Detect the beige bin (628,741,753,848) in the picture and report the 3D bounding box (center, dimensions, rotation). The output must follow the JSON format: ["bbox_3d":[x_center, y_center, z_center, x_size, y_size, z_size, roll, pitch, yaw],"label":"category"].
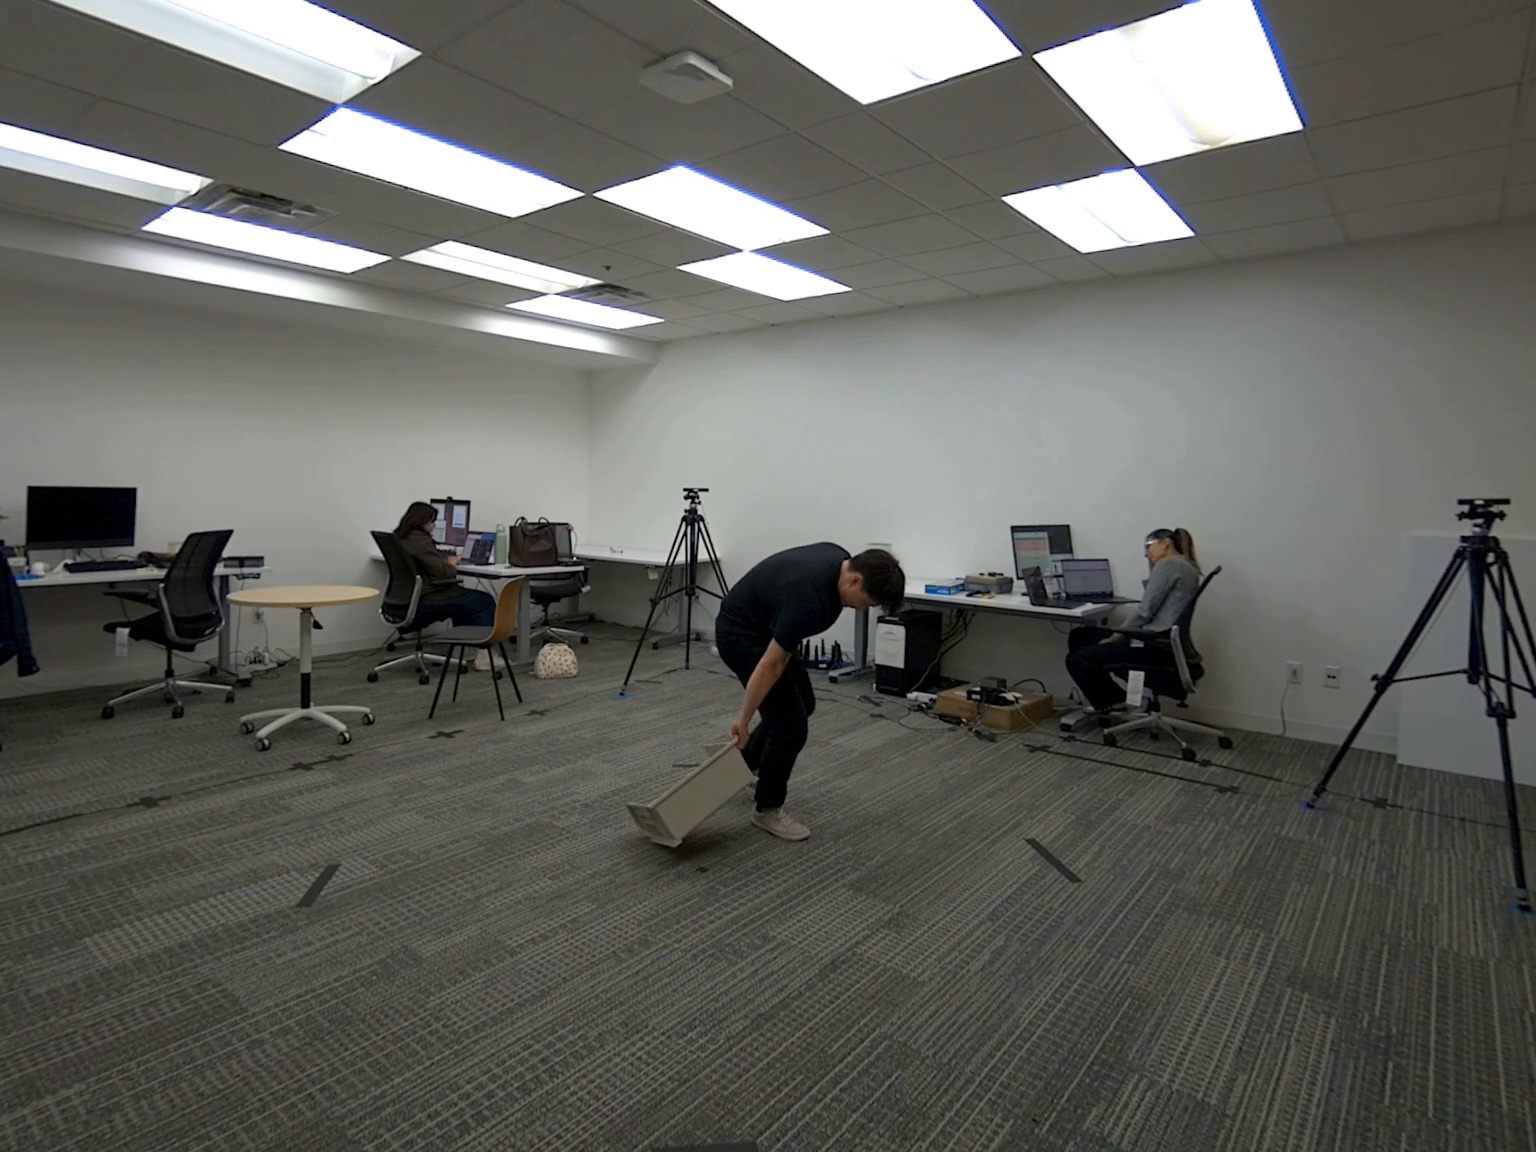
[{"bbox_3d":[-0.312,0.840,3.321,0.418,0.189,0.381,-33,3,-27],"label":"beige bin"}]
